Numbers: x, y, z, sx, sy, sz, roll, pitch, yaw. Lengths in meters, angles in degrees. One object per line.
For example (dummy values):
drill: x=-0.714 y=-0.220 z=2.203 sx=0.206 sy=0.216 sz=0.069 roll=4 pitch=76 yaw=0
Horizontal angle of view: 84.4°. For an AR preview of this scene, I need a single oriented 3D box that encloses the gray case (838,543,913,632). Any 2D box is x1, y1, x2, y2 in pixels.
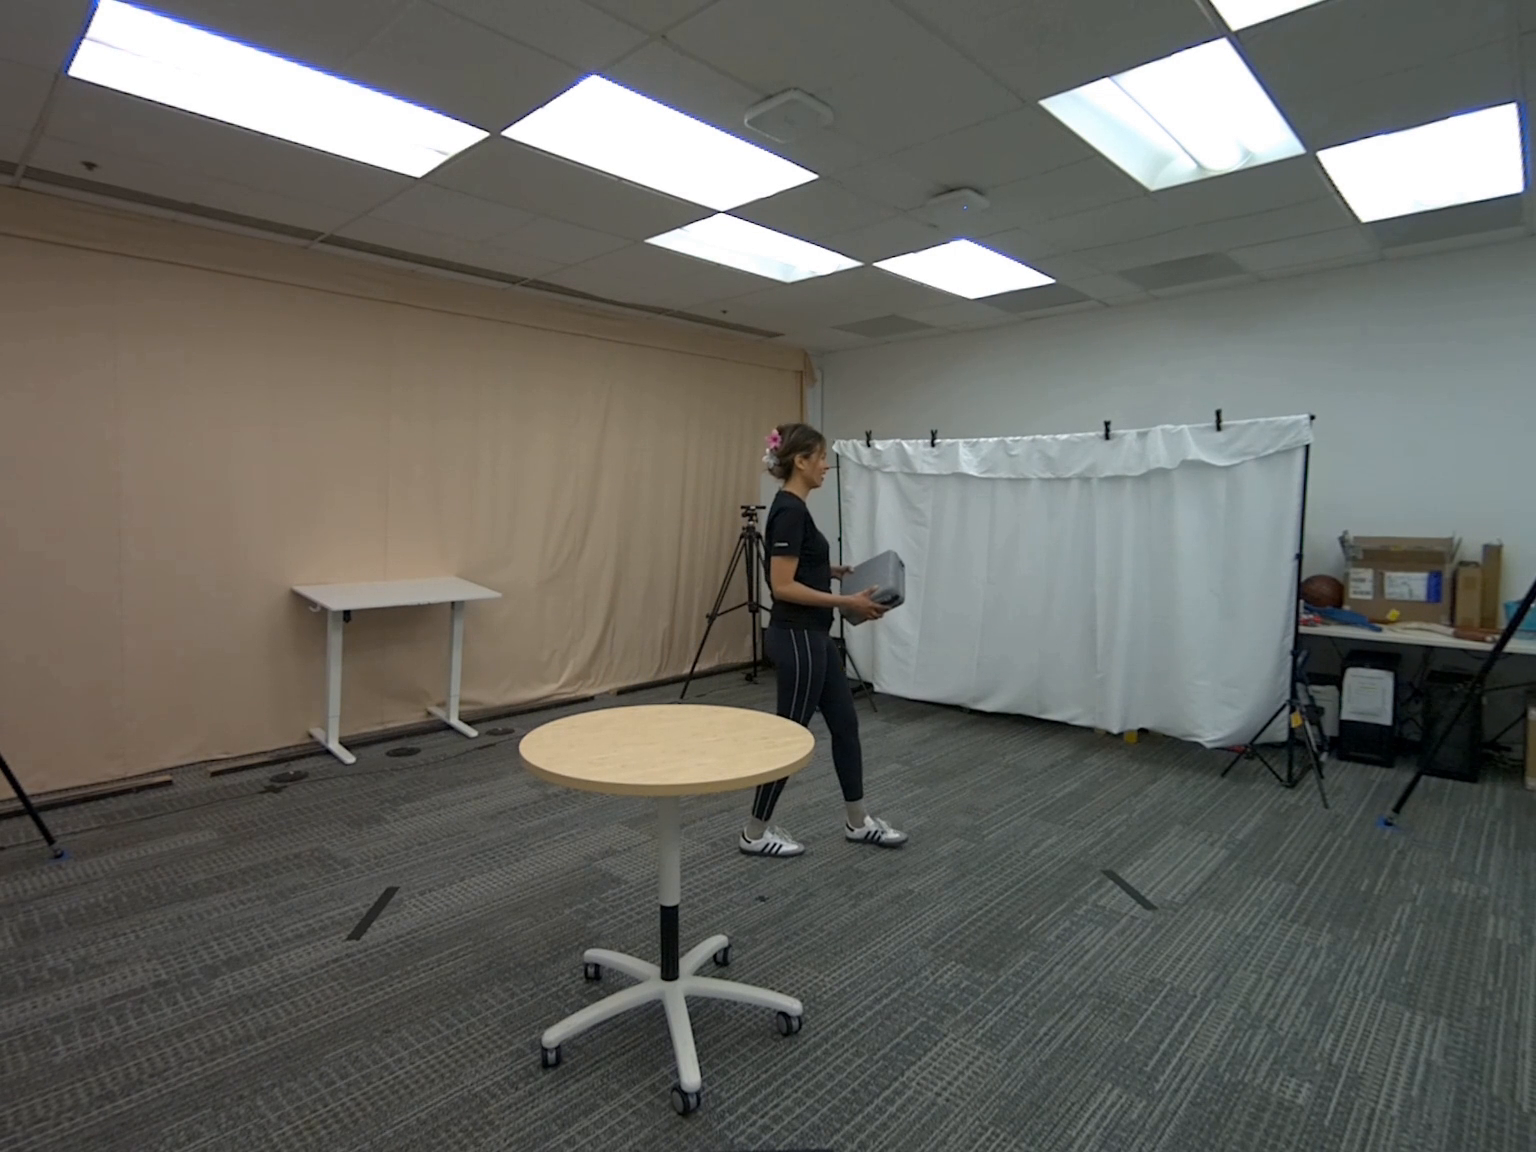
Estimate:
gray case: x=0.418 y=0.041 z=3.290 sx=0.261 sy=0.102 sz=0.263 roll=-30 pitch=29 yaw=31
